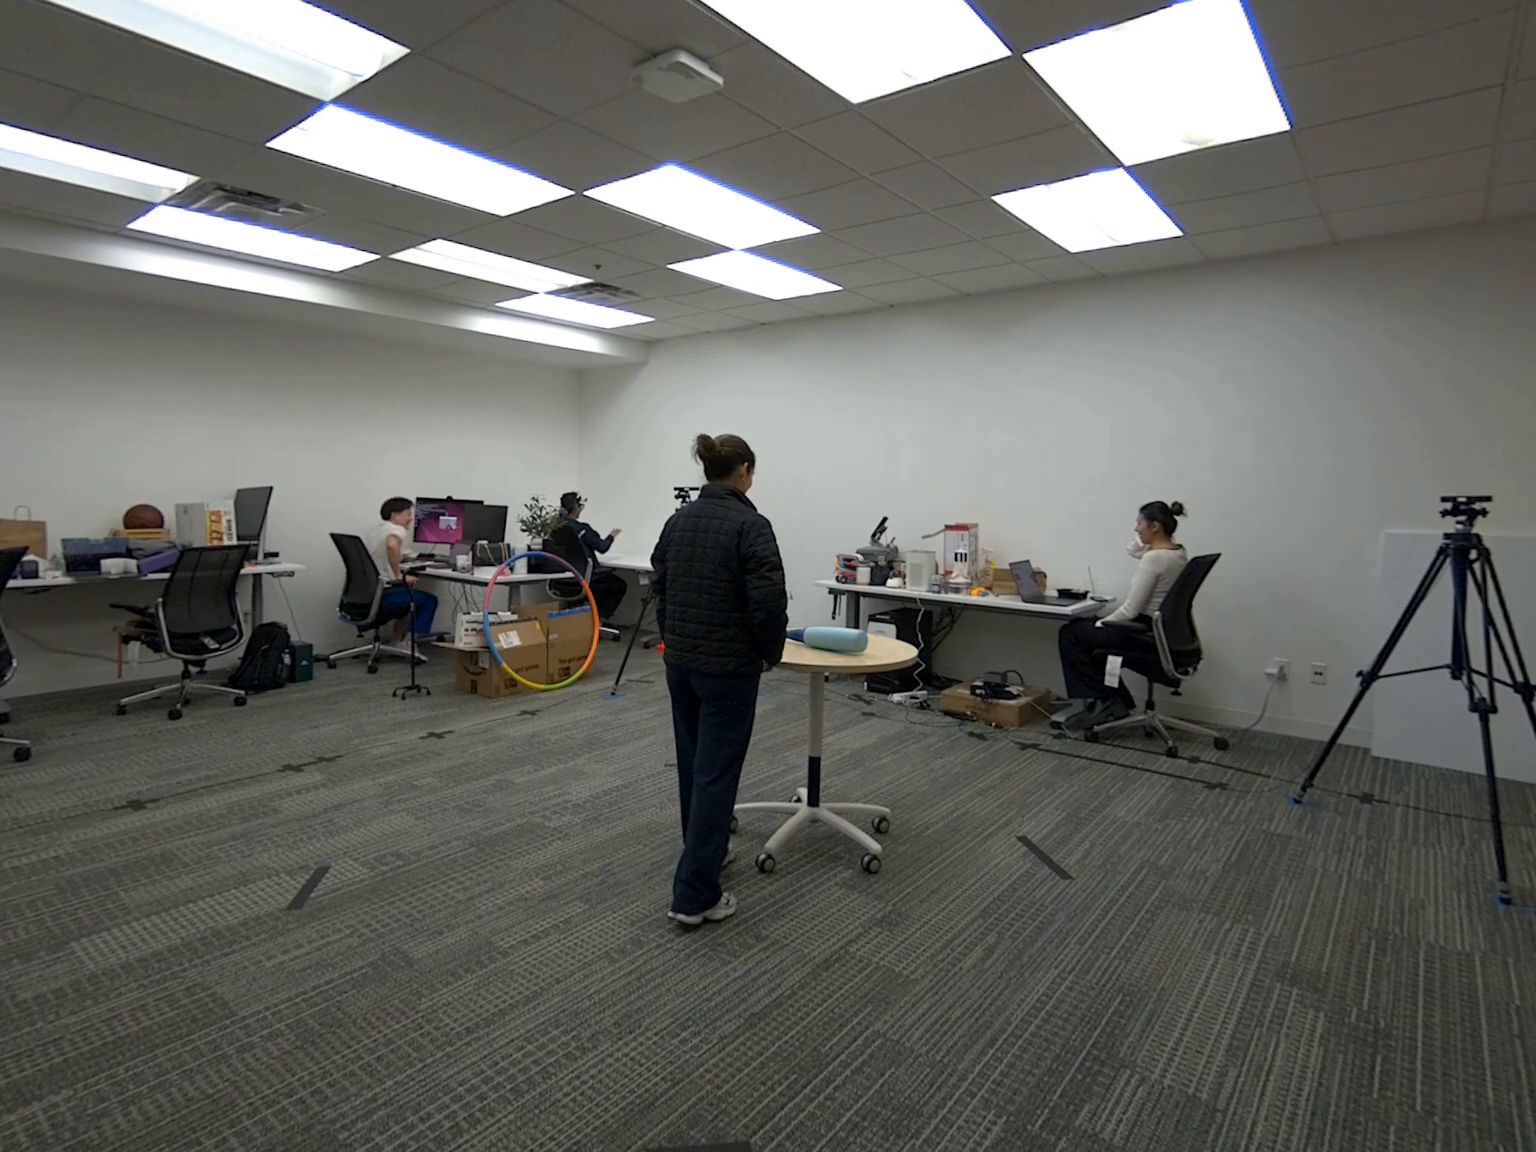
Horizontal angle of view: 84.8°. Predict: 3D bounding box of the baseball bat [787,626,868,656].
[{"bbox_3d":[0.157,0.232,3.327,0.561,0.089,0.086,2,4,41],"label":"baseball bat"}]
